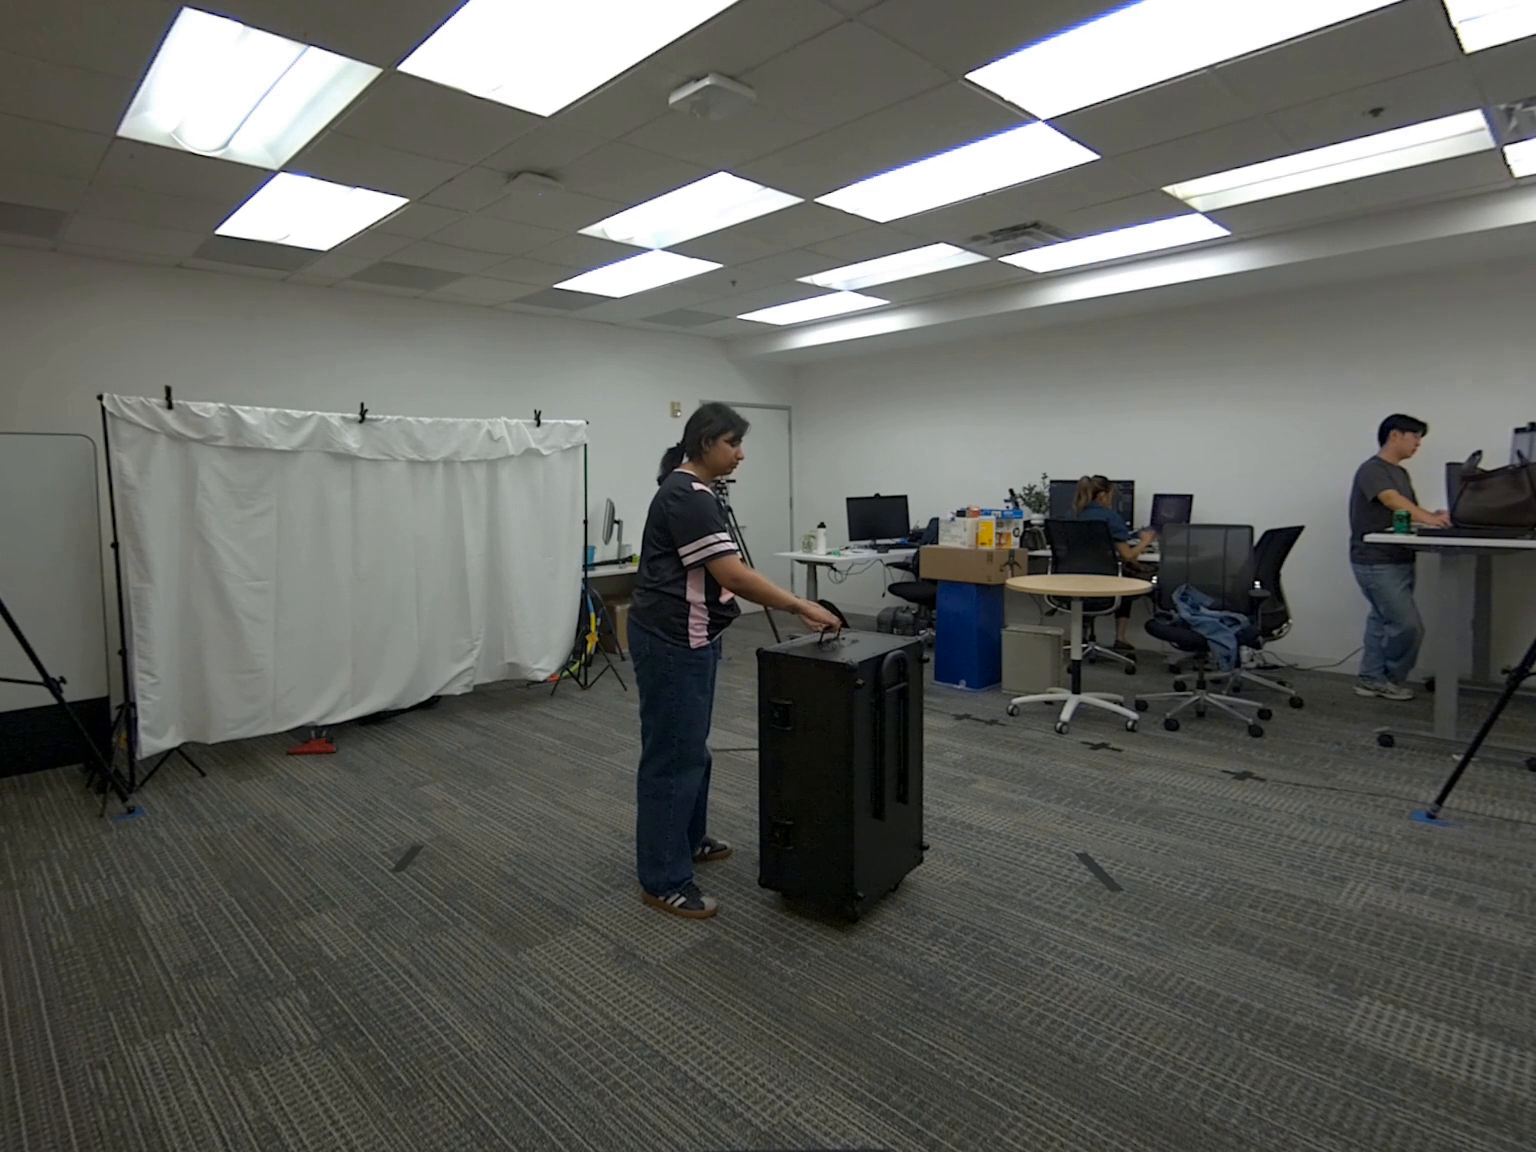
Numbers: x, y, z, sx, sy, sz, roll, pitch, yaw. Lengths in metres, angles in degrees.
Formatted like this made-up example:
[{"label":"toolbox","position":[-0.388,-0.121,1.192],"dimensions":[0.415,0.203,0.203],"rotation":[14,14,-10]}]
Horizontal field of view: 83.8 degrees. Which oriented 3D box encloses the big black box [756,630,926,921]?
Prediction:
[{"label":"big black box","position":[0.258,0.648,2.845],"dimensions":[0.396,0.865,0.510],"rotation":[3,6,36]}]
